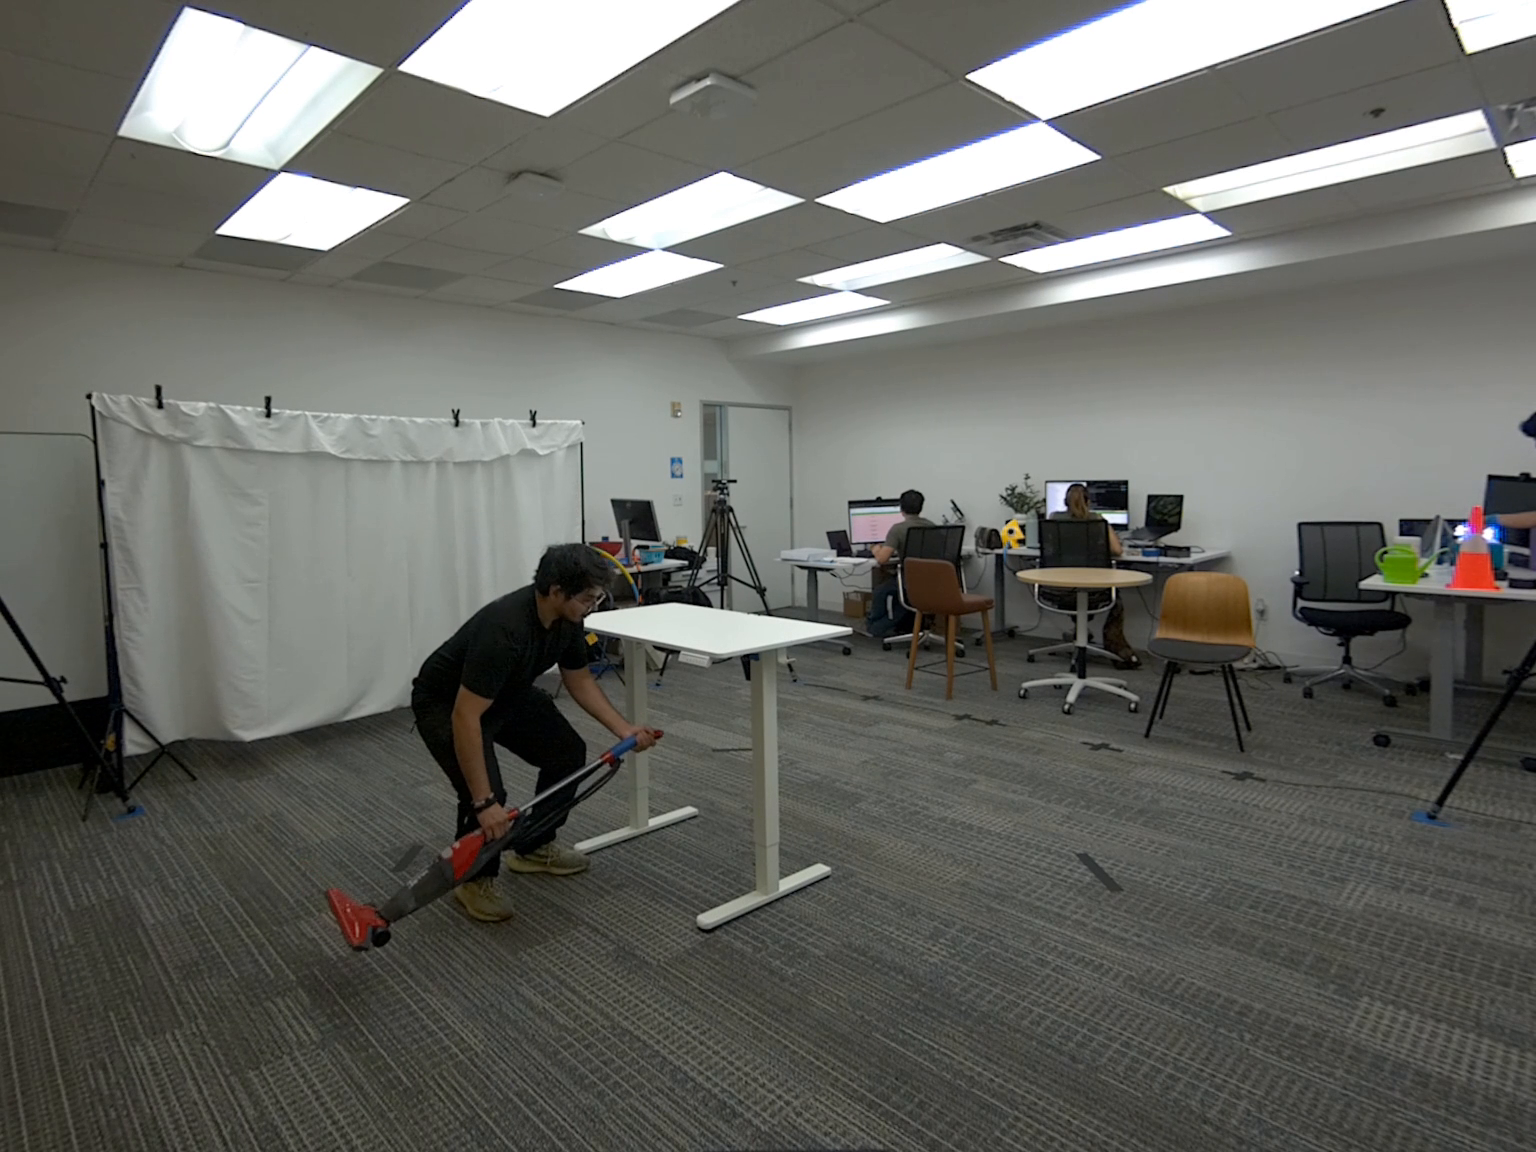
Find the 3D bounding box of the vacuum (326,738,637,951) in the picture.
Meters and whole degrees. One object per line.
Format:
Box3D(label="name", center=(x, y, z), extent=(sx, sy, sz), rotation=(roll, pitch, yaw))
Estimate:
Box3D(label="vacuum", center=(-0.755, 0.776, 2.622), extent=(1.037, 0.140, 0.262), rotation=(-27, 35, -28))
